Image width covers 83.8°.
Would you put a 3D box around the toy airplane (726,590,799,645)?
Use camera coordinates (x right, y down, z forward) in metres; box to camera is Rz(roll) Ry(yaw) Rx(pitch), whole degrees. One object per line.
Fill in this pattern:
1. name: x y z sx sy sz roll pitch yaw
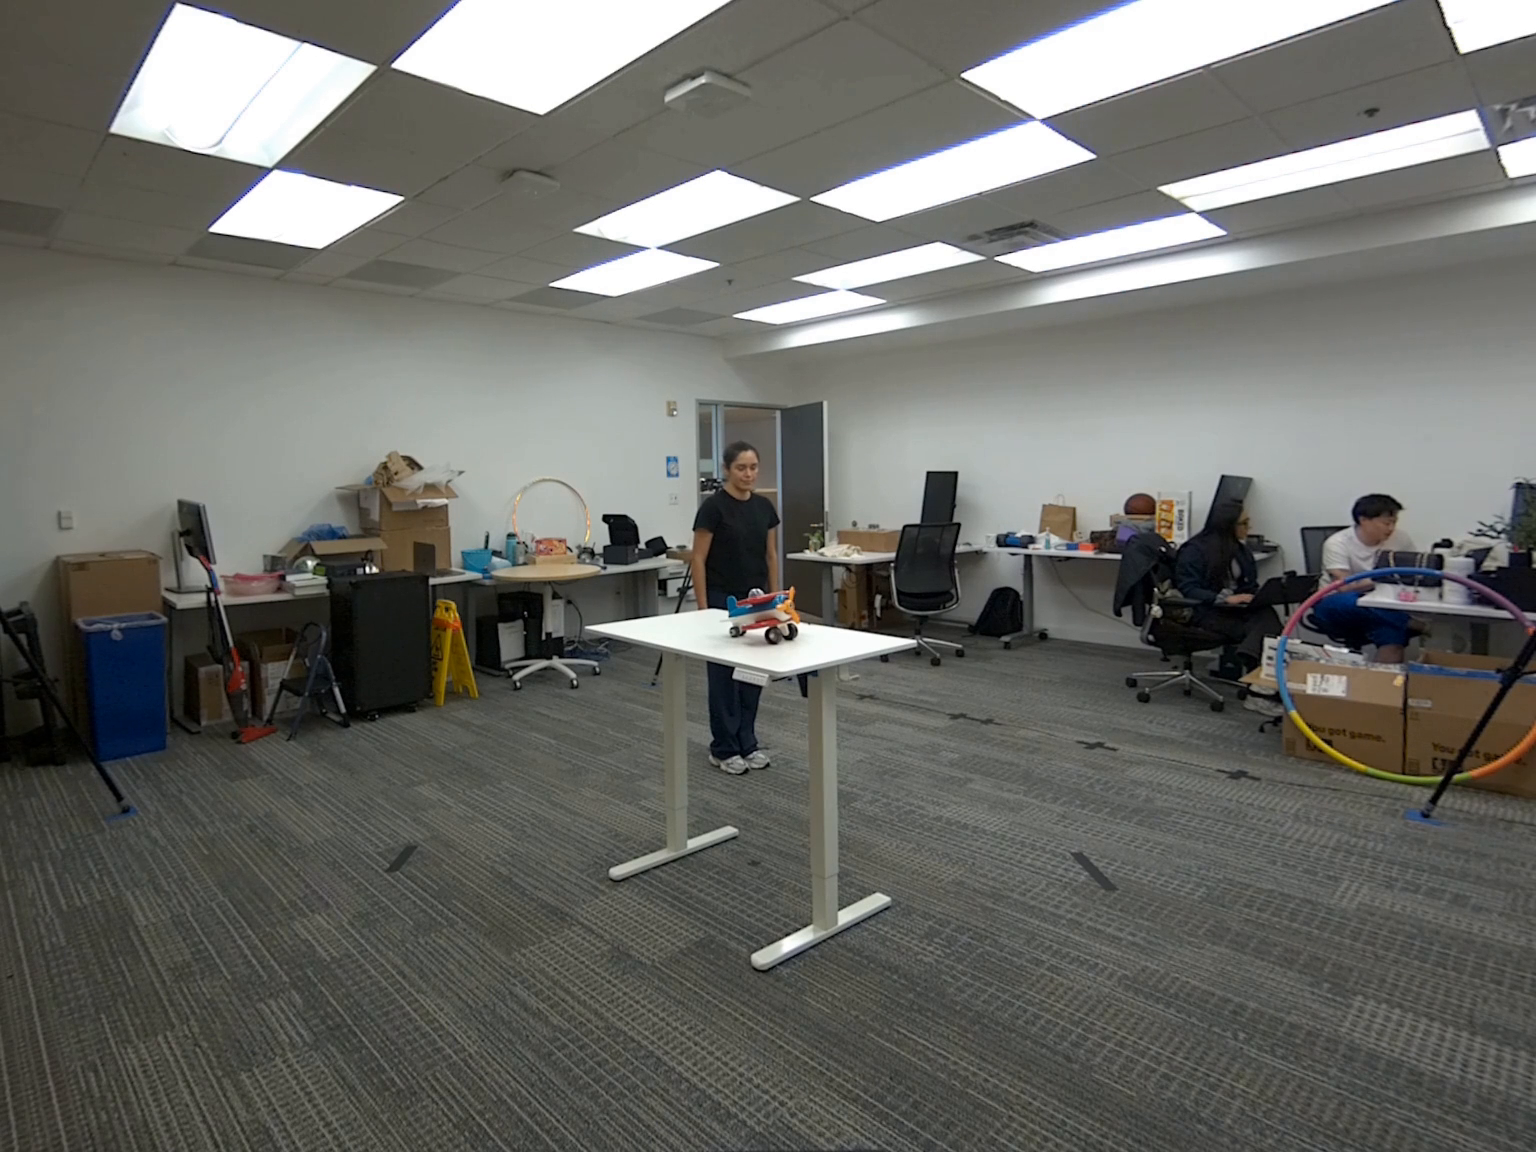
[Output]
1. toy airplane: -0.034 0.129 2.736 0.262 0.156 0.250 0 6 10
